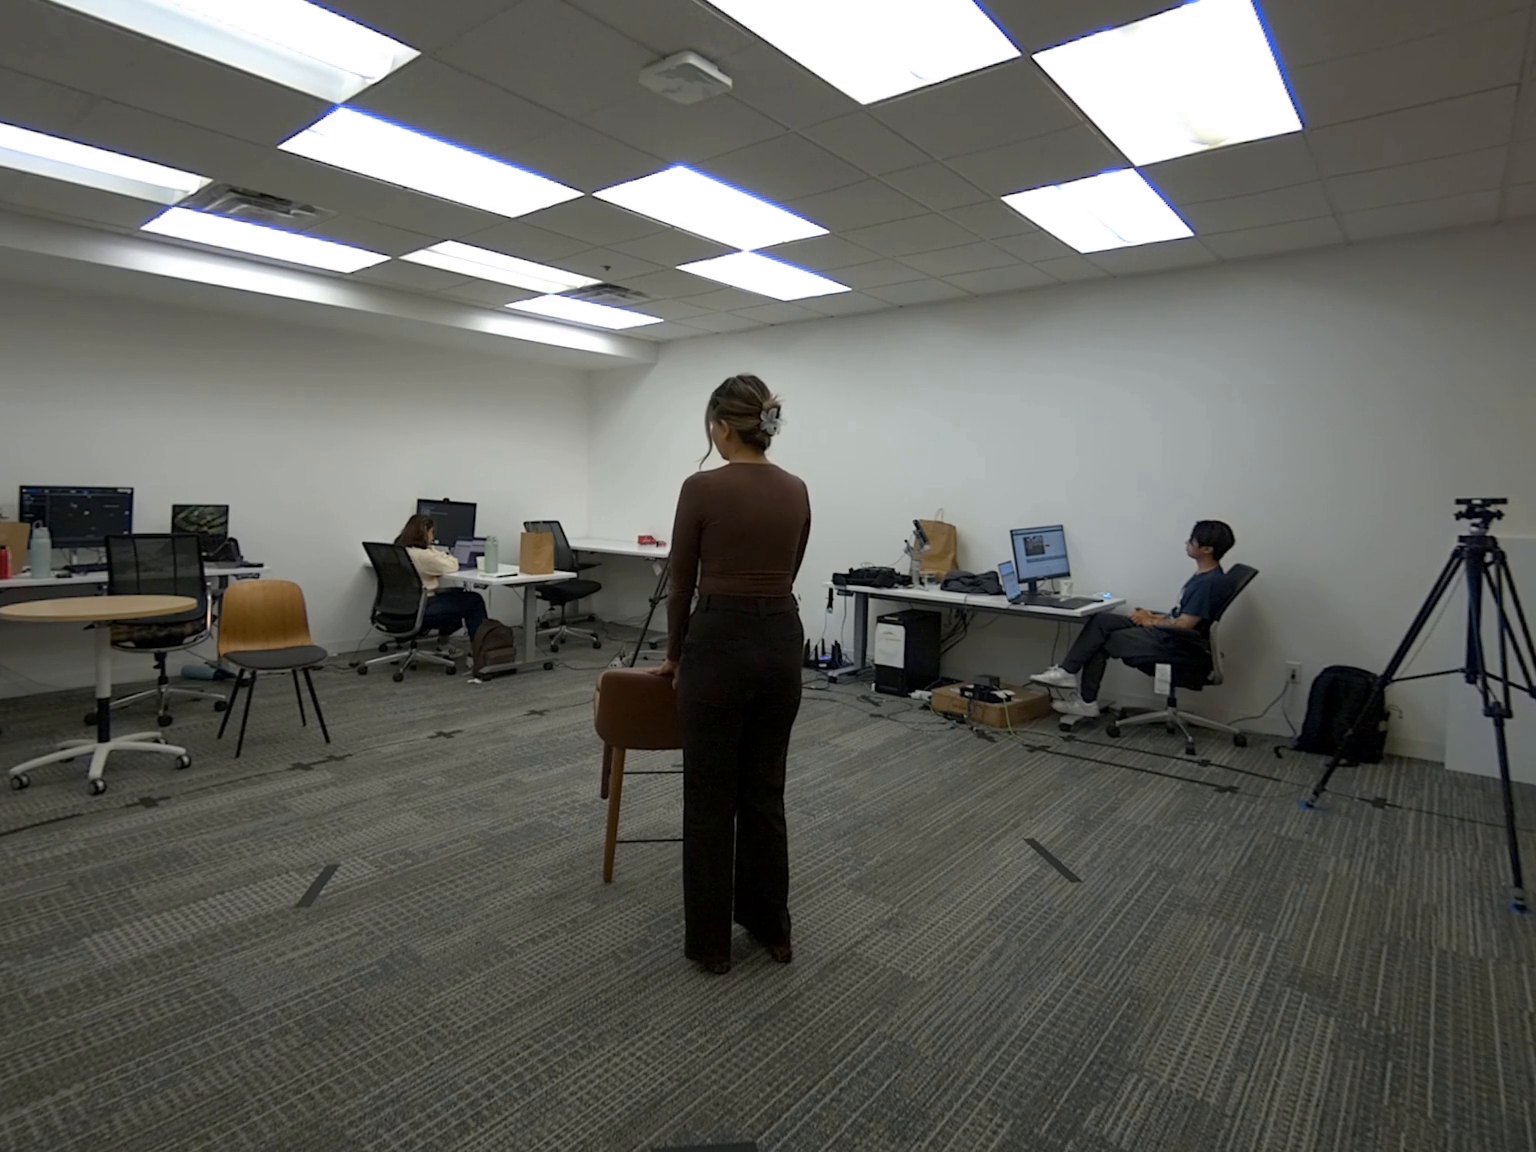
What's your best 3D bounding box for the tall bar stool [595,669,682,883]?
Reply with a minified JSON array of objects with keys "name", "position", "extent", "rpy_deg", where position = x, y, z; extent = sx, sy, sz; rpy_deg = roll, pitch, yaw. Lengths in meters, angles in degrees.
[{"name":"tall bar stool","position":[-0.407,0.591,3.030],"extent":[0.453,0.872,0.481],"rpy_deg":[2,26,-8]}]
